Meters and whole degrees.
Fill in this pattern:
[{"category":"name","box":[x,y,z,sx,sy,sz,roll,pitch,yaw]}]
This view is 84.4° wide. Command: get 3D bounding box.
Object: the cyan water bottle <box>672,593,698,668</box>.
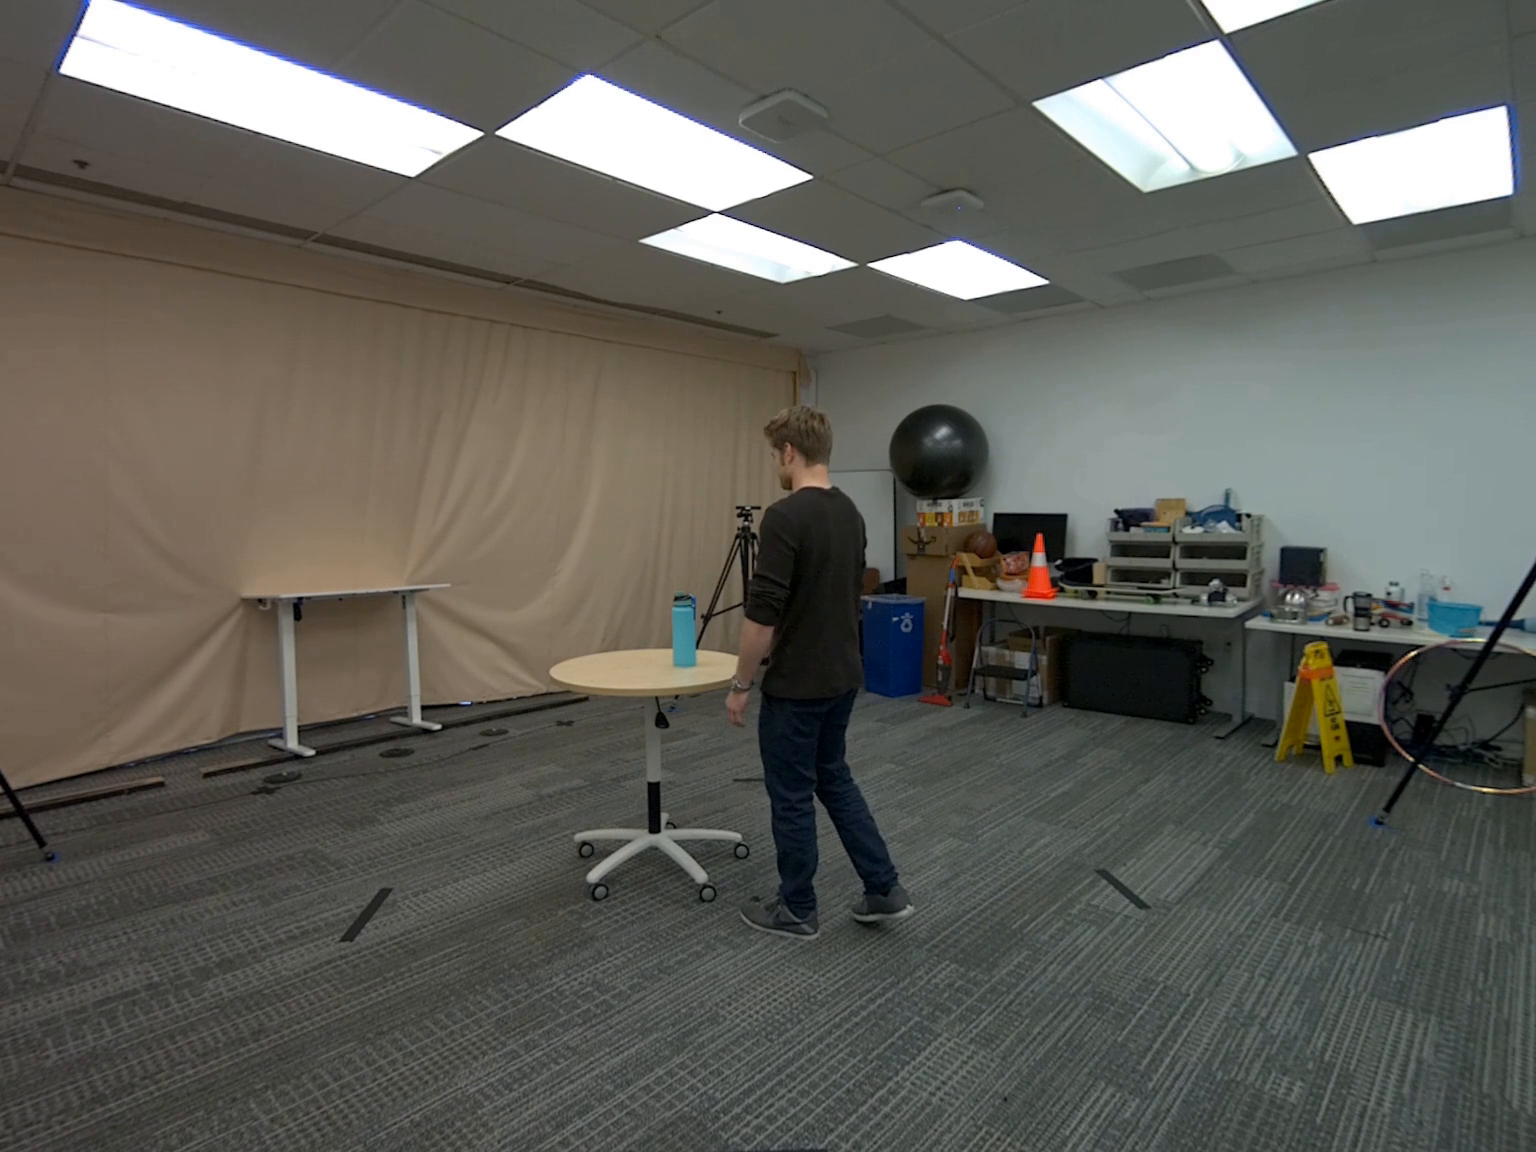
[{"category":"cyan water bottle","box":[-0.319,0.204,3.229,0.092,0.283,0.092,1,2,-2]}]
